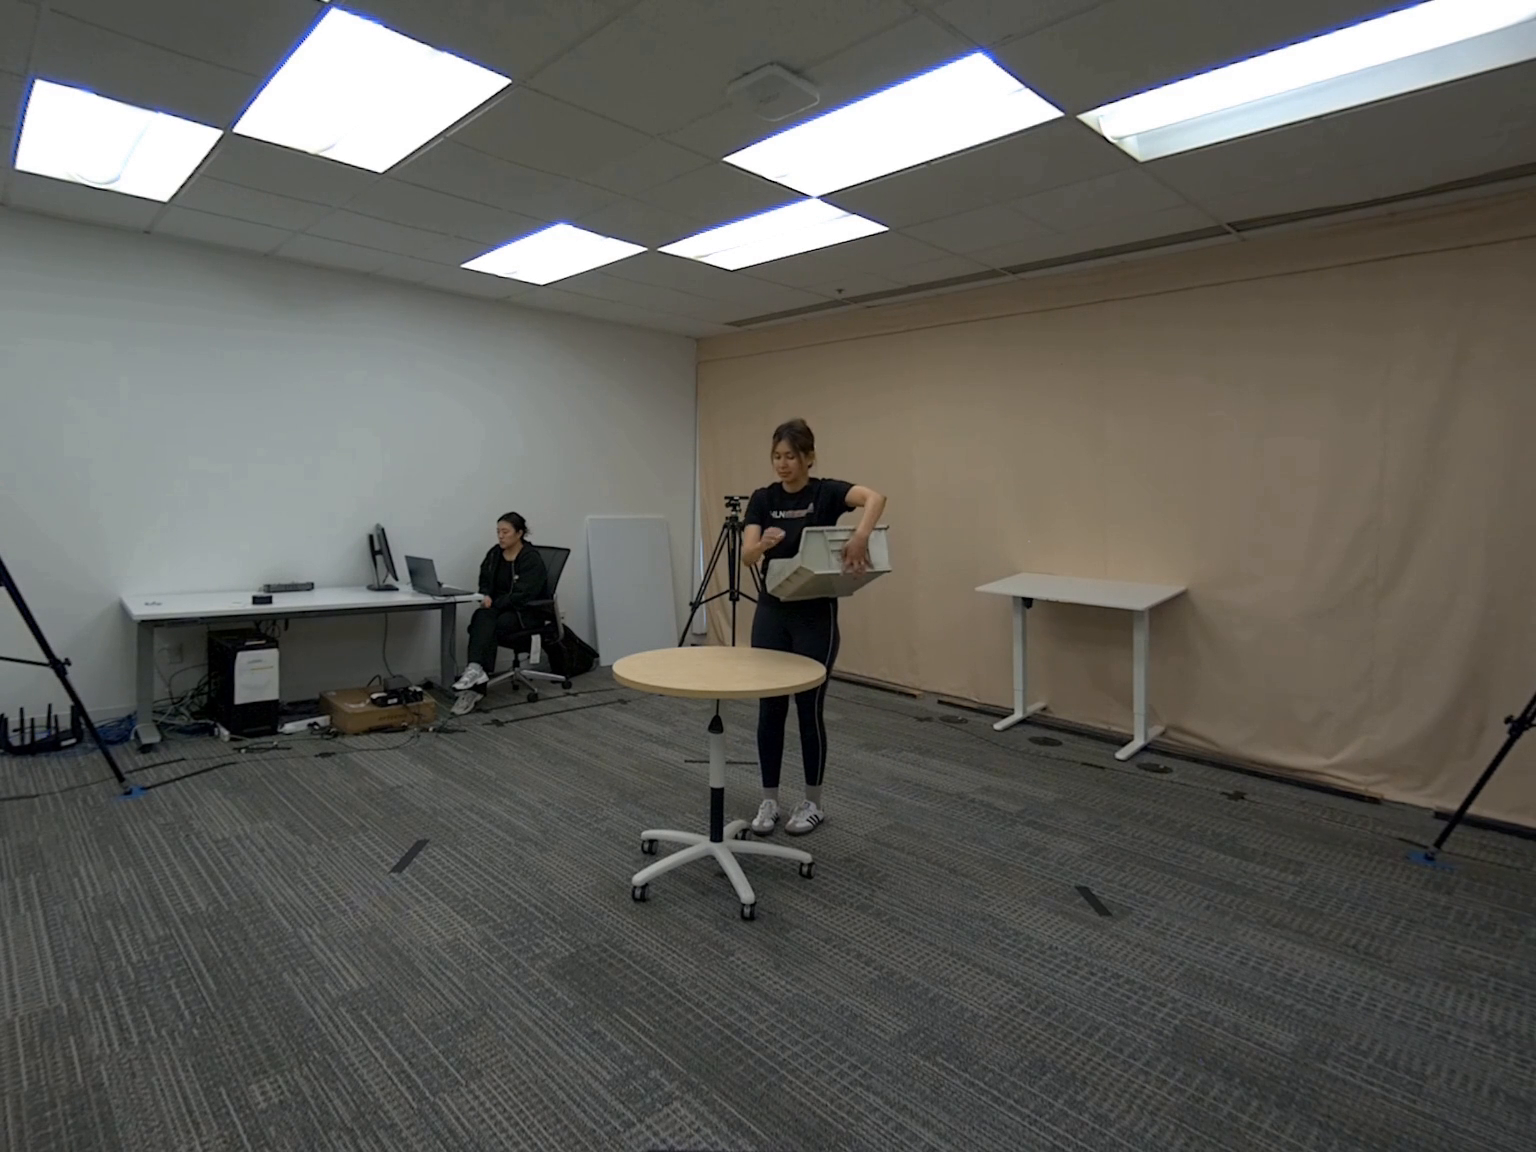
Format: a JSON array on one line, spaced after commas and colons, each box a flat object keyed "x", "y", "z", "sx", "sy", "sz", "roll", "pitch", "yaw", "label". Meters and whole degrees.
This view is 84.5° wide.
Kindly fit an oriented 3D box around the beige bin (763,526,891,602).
[{"x": 0.218, "y": -0.043, "z": 3.307, "sx": 0.373, "sy": 0.191, "sz": 0.422, "roll": -2, "pitch": -16, "yaw": -17, "label": "beige bin"}]
